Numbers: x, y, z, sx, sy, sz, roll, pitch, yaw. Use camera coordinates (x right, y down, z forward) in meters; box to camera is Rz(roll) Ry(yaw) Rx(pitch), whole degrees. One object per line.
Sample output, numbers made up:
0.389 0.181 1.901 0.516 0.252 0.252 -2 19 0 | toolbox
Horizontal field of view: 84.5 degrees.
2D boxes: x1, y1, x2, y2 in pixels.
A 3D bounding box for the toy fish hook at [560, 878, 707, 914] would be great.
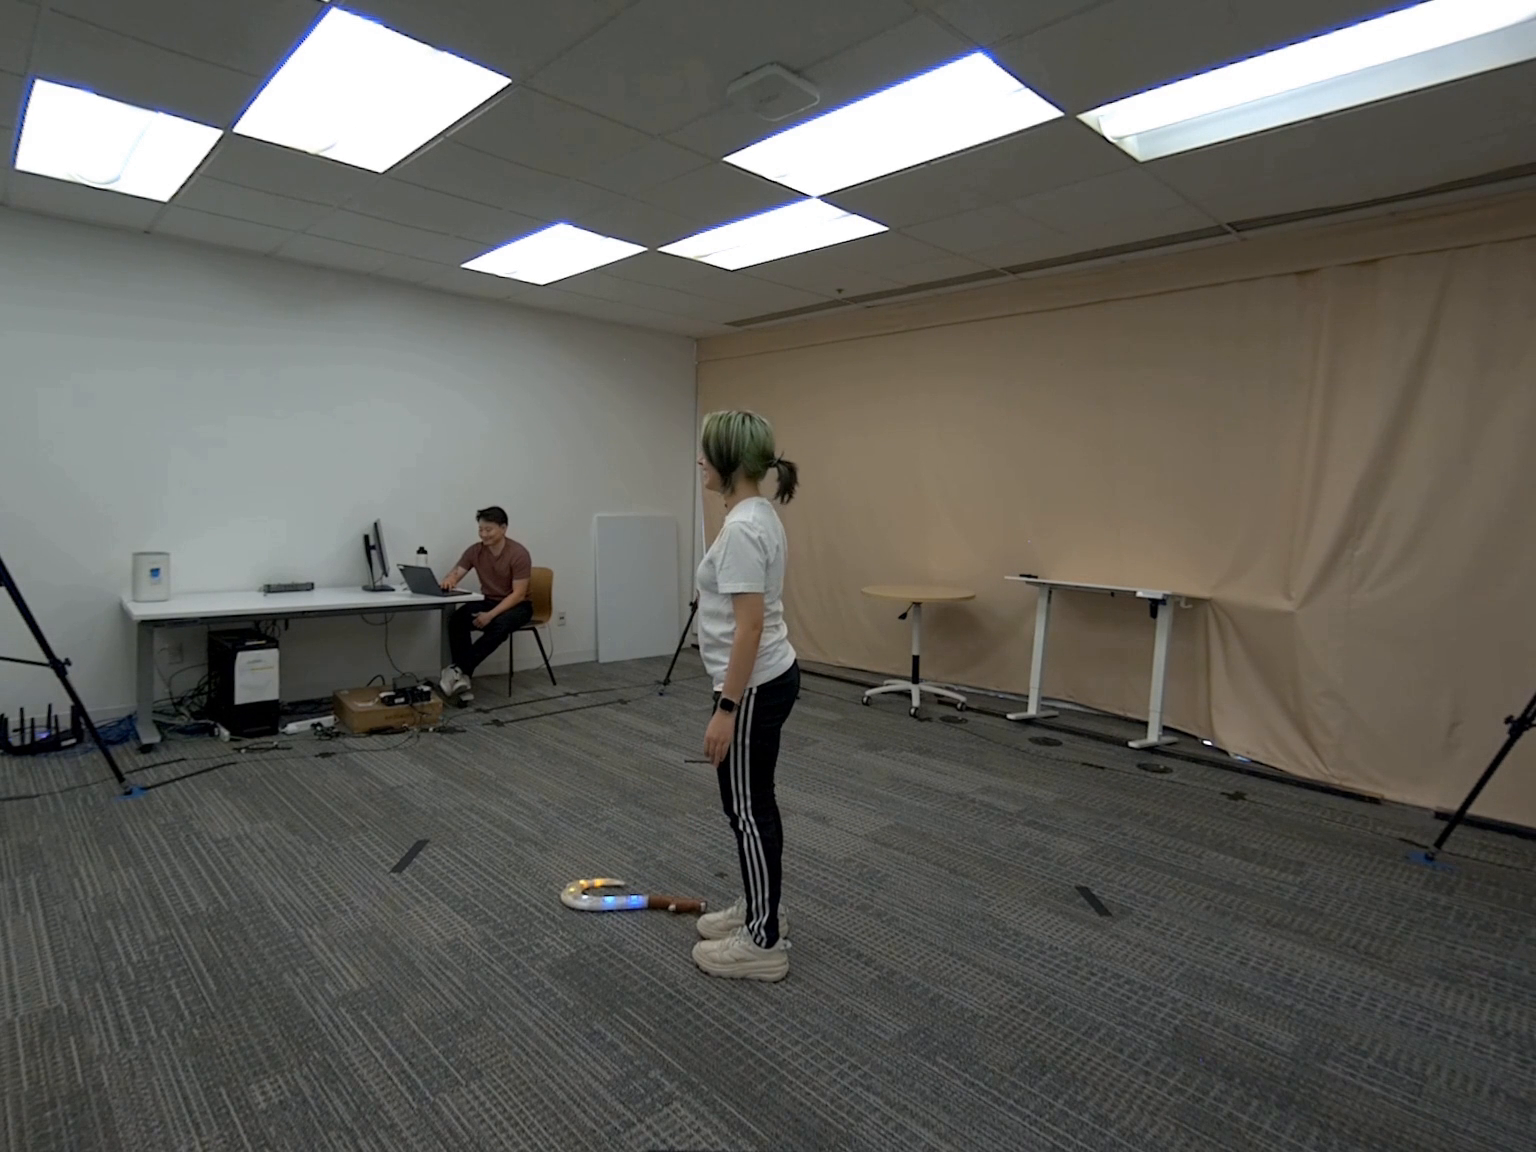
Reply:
-0.458 1.093 2.890 0.509 0.048 0.224 2 7 5 | toy fish hook
